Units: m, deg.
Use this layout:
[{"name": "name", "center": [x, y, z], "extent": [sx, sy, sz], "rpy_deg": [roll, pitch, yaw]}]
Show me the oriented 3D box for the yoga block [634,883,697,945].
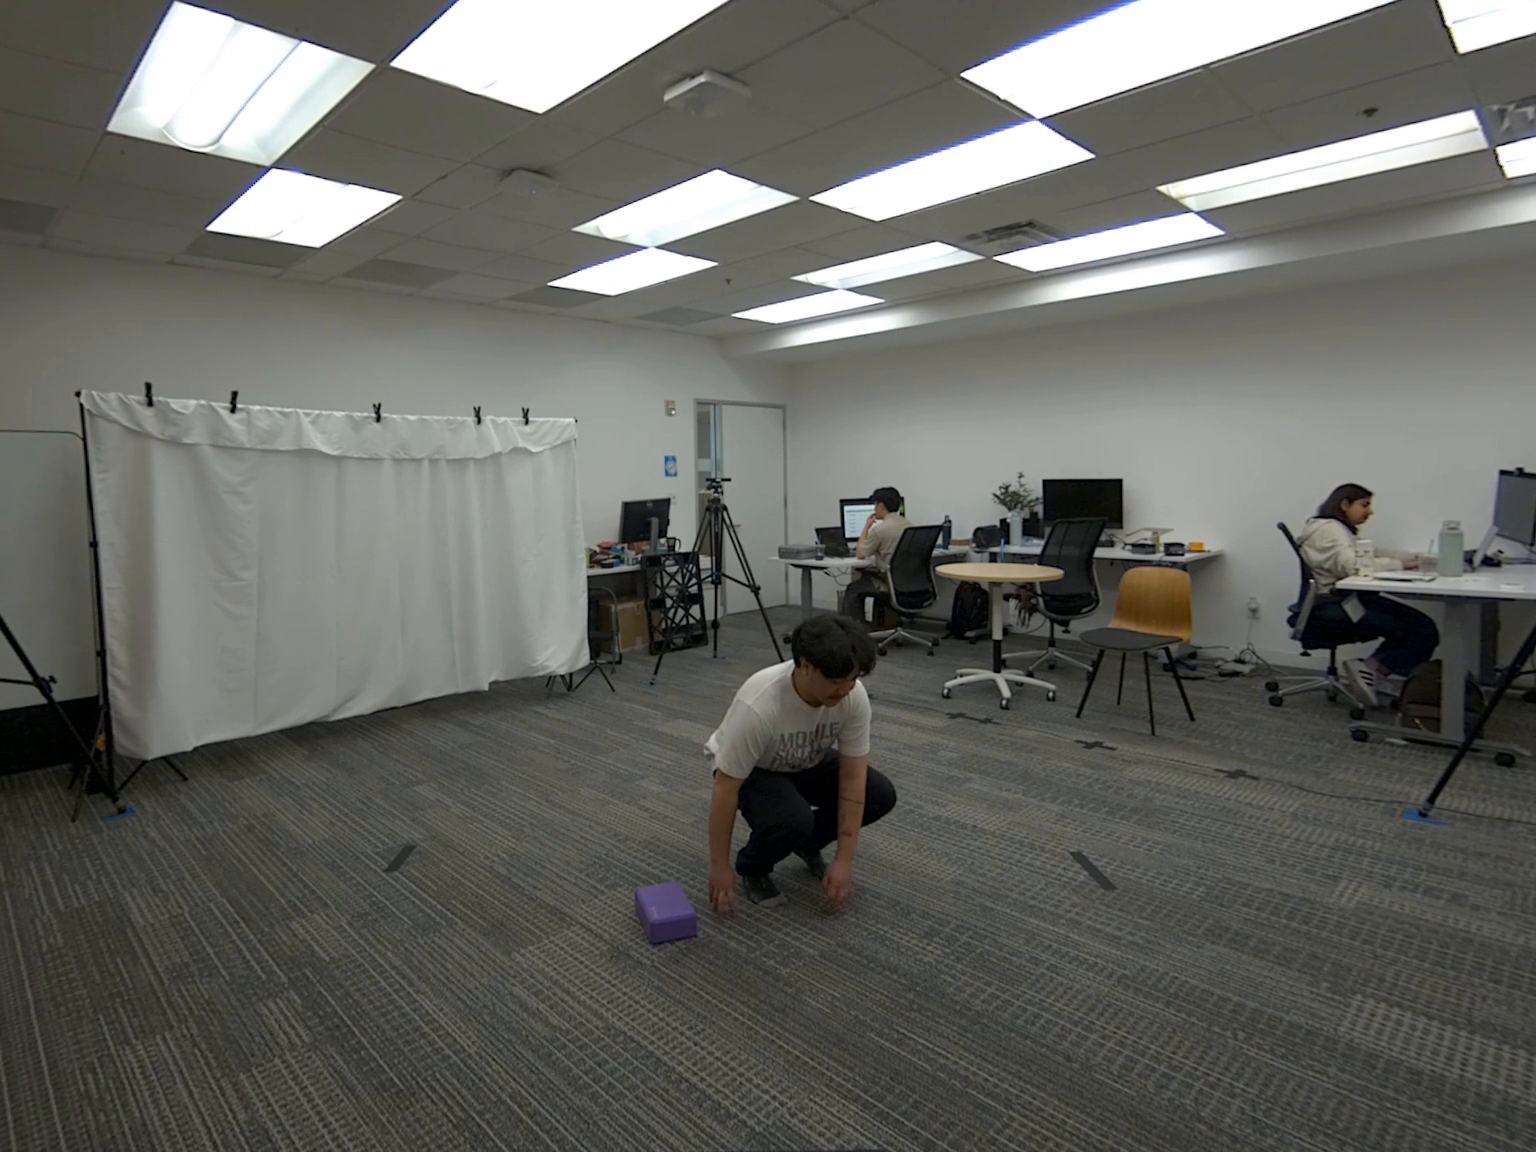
[{"name": "yoga block", "center": [-0.316, 1.054, 2.692], "extent": [0.146, 0.076, 0.234], "rpy_deg": [-2, 7, -20]}]
